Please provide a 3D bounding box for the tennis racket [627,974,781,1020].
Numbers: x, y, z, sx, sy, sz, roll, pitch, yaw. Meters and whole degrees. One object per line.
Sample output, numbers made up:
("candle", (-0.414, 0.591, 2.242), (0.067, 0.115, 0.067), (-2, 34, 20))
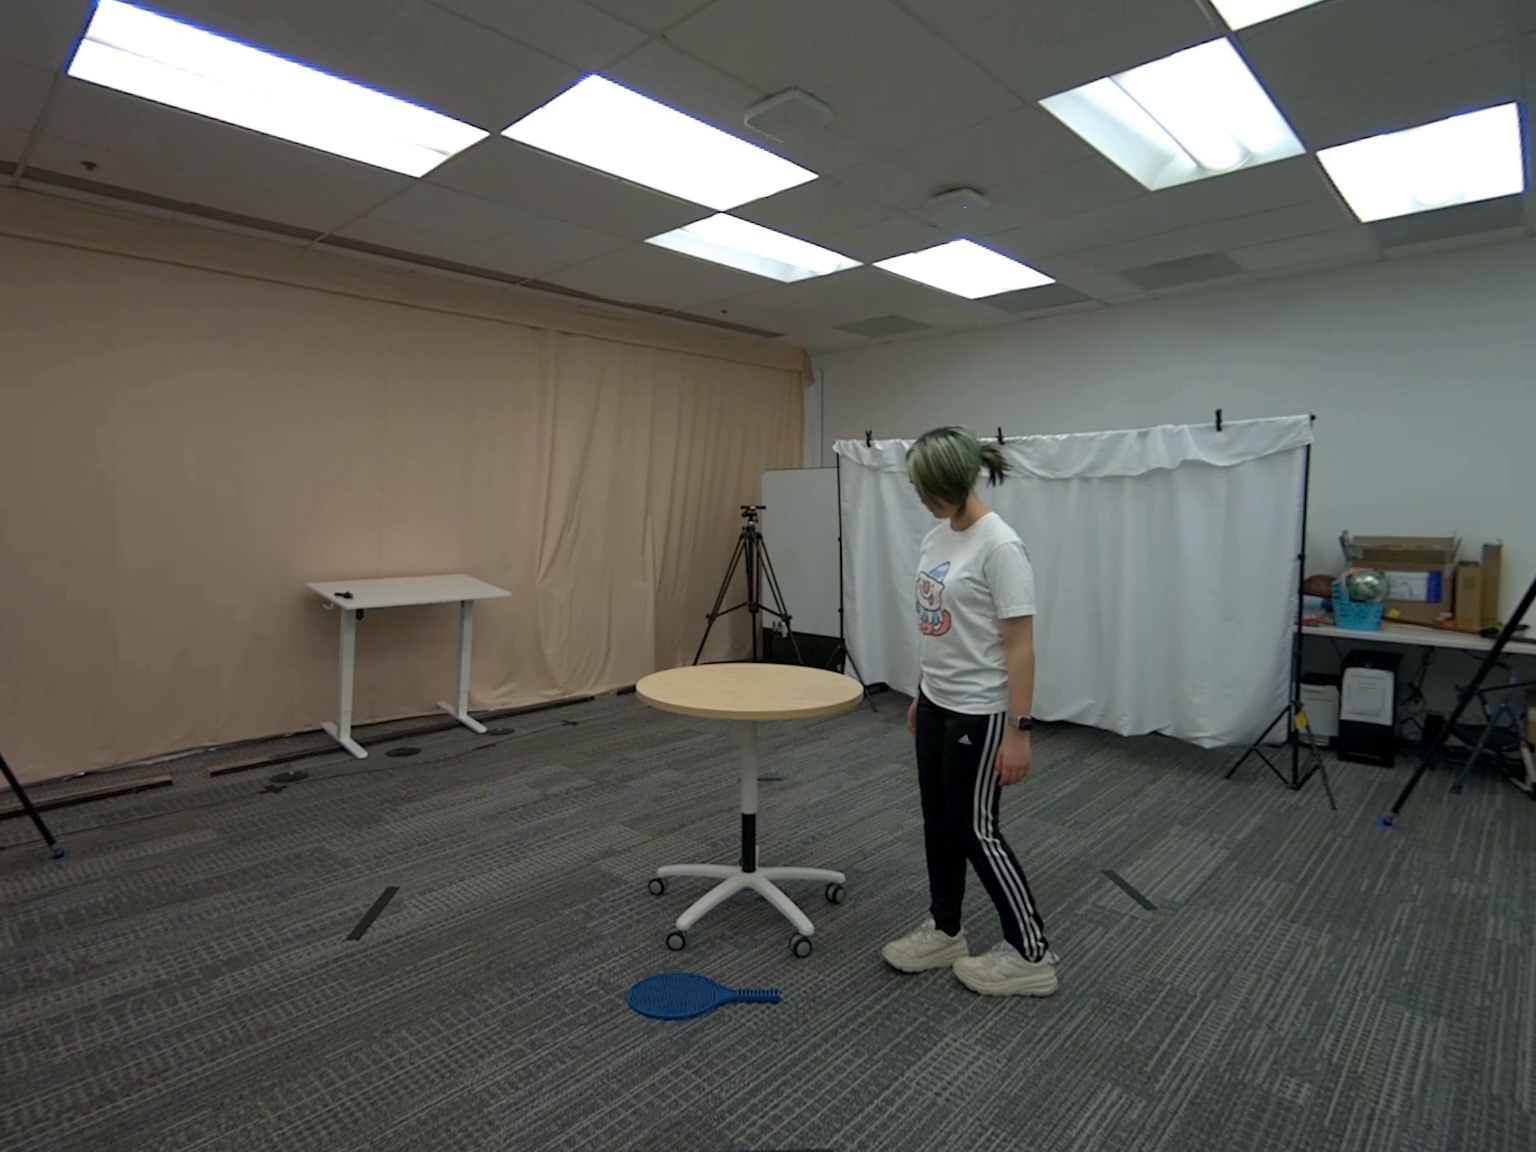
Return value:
("tennis racket", (-0.182, 1.183, 2.383), (0.434, 0.032, 0.213), (-2, 4, 3))
